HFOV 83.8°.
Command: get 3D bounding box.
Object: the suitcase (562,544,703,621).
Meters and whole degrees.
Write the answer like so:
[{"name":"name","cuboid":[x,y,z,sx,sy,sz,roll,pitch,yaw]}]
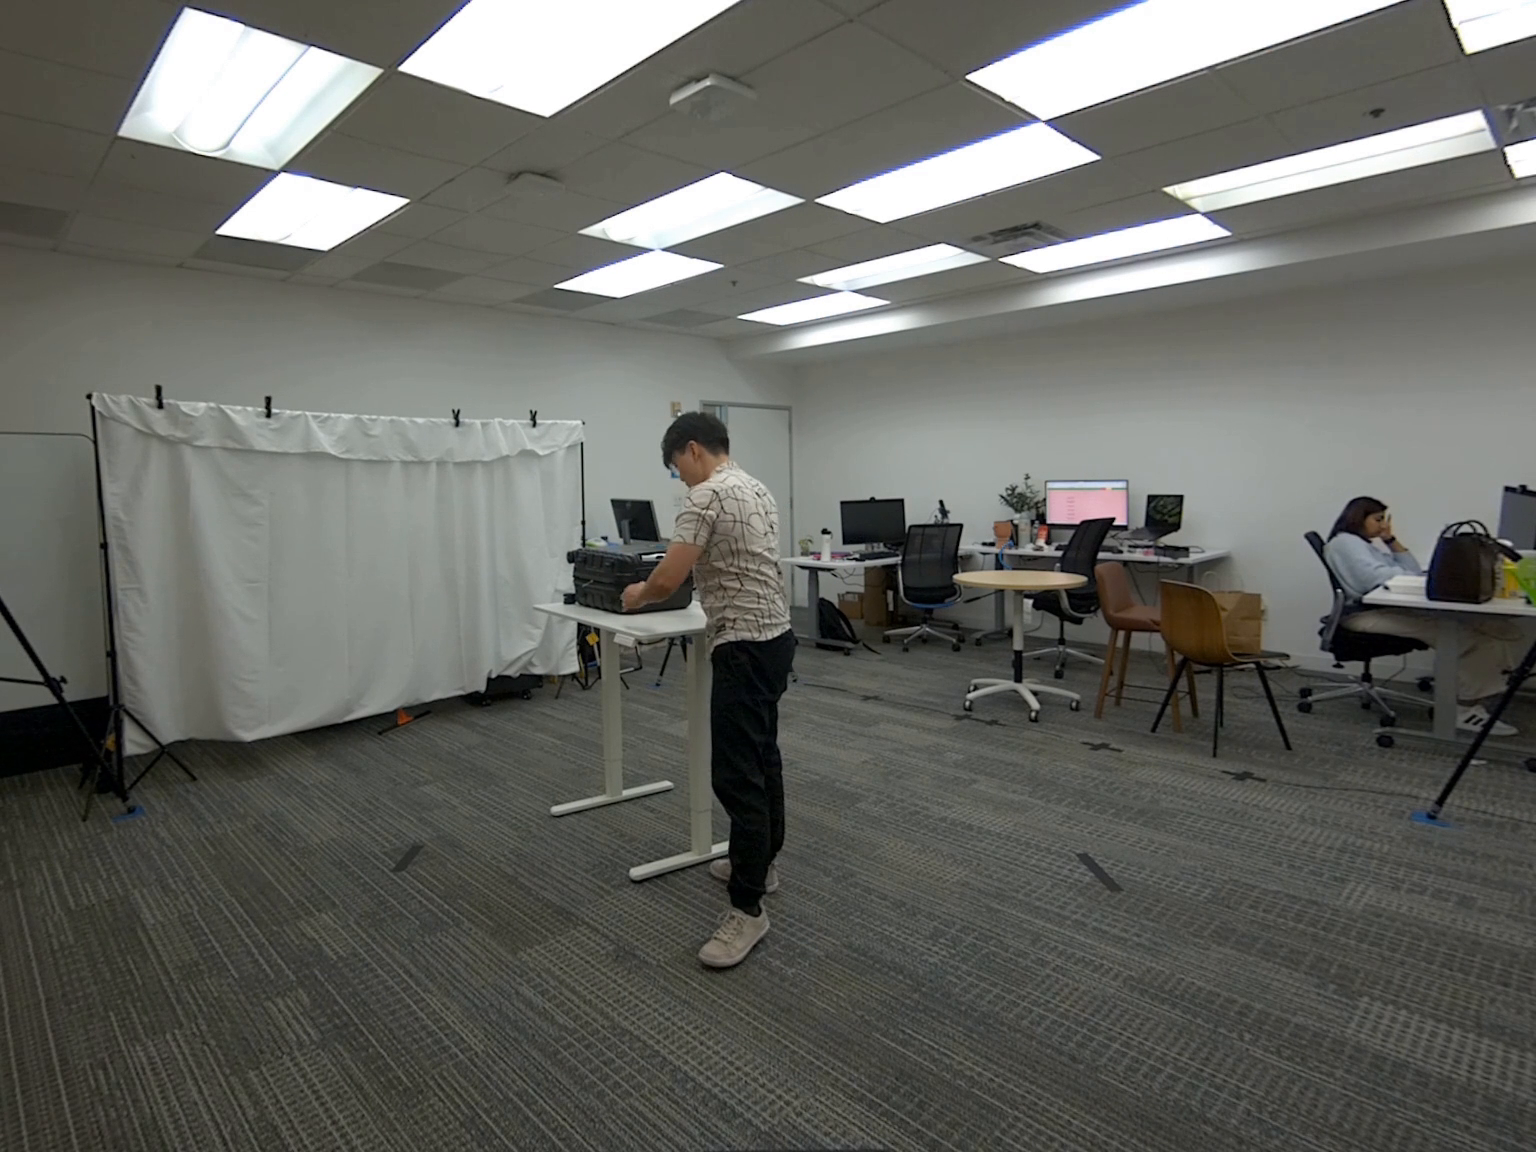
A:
[{"name":"suitcase","cuboid":[-0.565,0.009,3.568,0.366,0.247,0.566,-4,6,-36]}]
